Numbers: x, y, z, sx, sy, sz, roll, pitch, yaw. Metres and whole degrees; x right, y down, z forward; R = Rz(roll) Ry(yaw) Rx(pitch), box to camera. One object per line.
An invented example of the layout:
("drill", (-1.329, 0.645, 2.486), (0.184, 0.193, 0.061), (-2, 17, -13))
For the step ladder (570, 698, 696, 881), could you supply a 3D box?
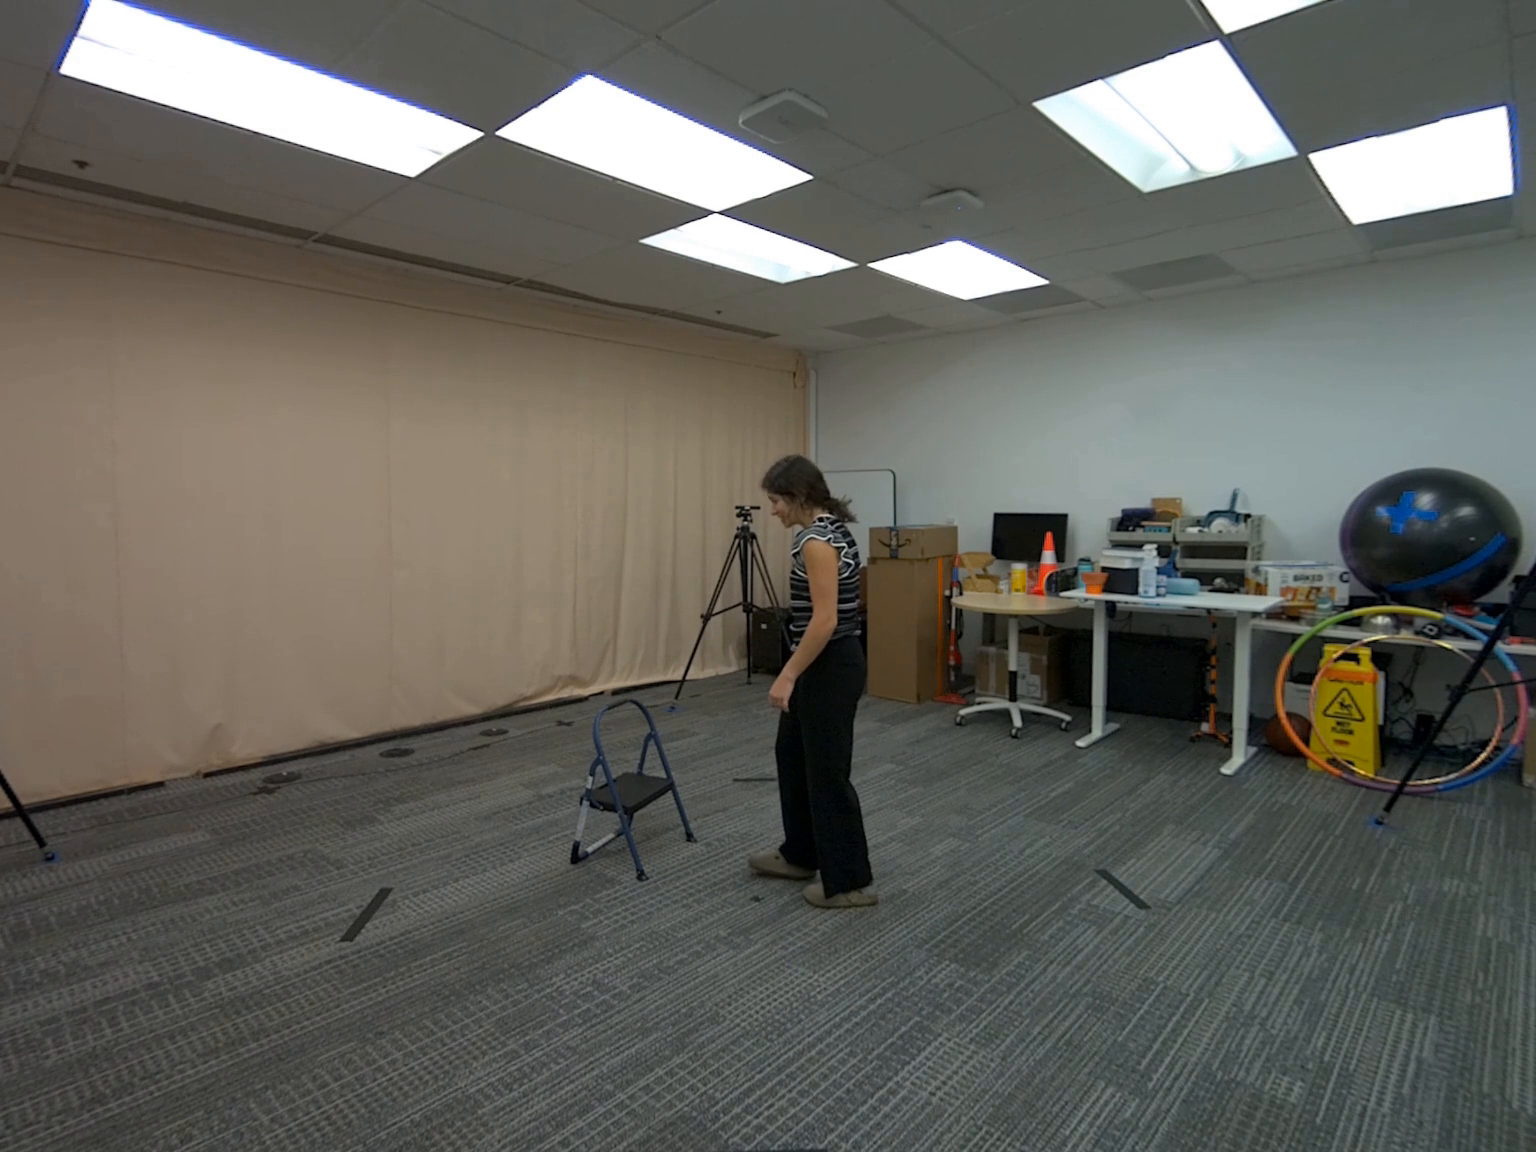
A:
("step ladder", (-0.539, 0.813, 3.386), (0.358, 0.605, 0.421), (1, 3, 24))
